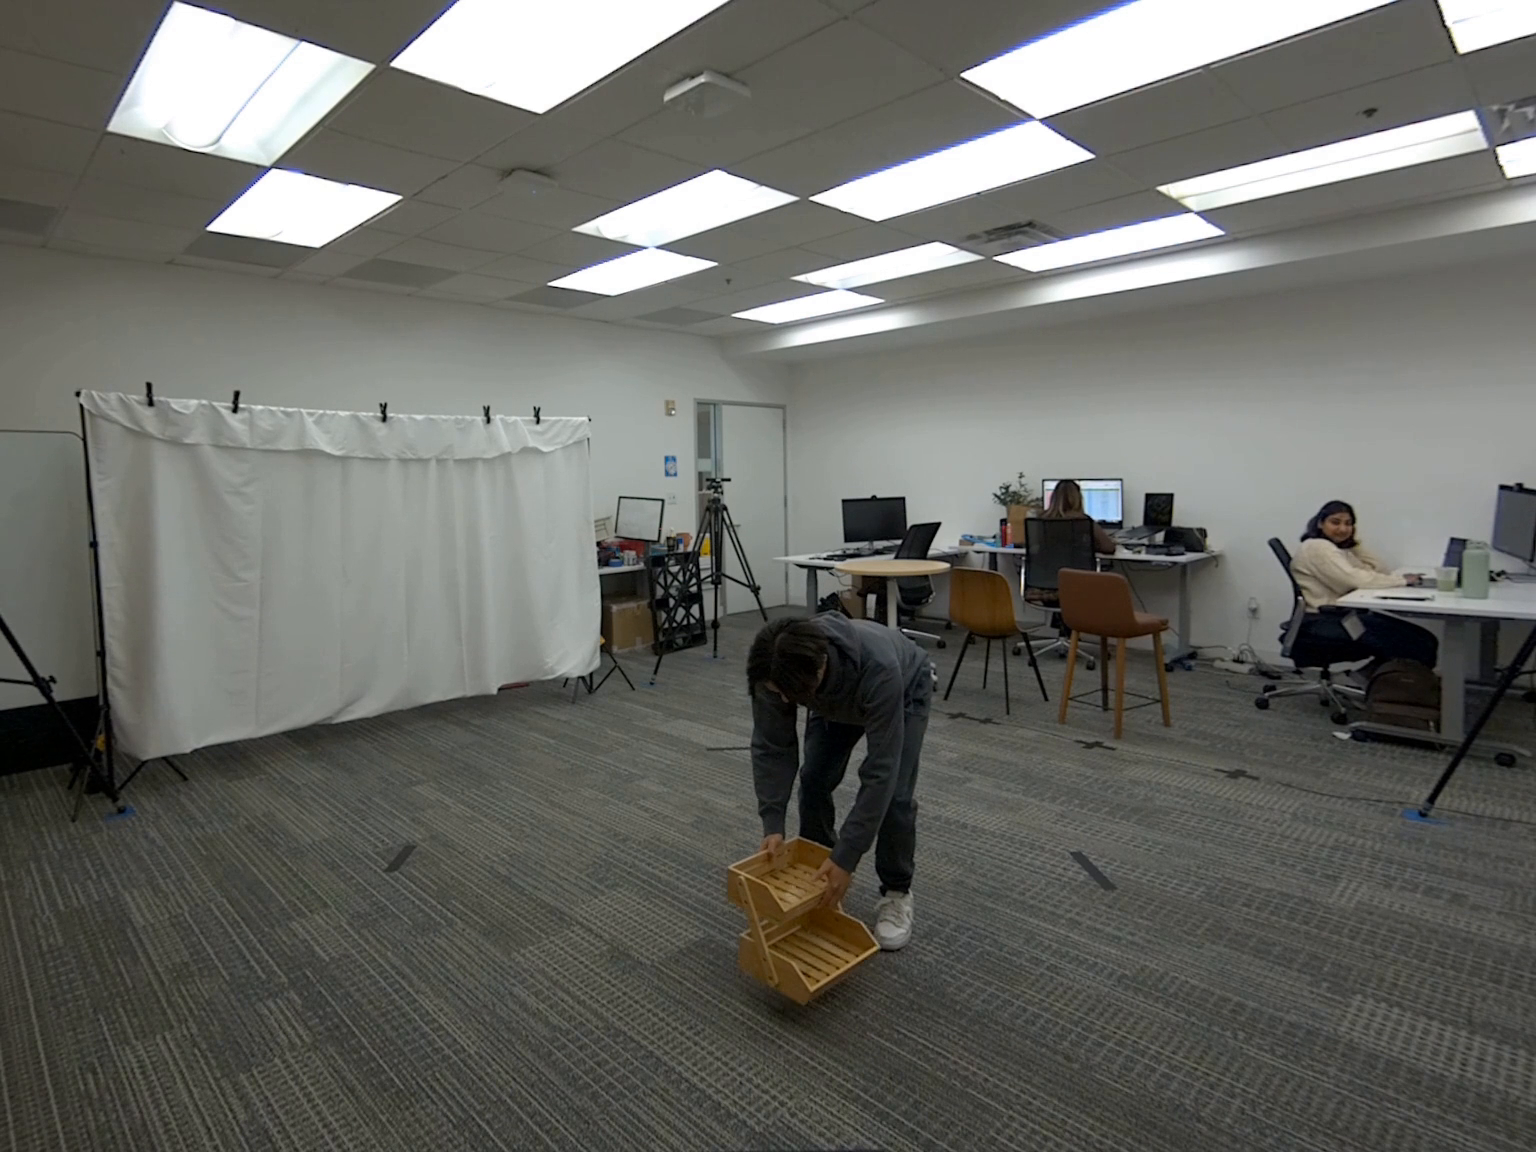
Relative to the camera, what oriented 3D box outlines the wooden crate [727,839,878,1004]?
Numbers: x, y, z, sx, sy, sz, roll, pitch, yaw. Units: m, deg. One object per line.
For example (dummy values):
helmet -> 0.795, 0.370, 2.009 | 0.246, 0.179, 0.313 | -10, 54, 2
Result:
wooden crate -> 0.091, 0.916, 2.325 | 0.311, 0.272, 0.316 | 5, 7, 43
